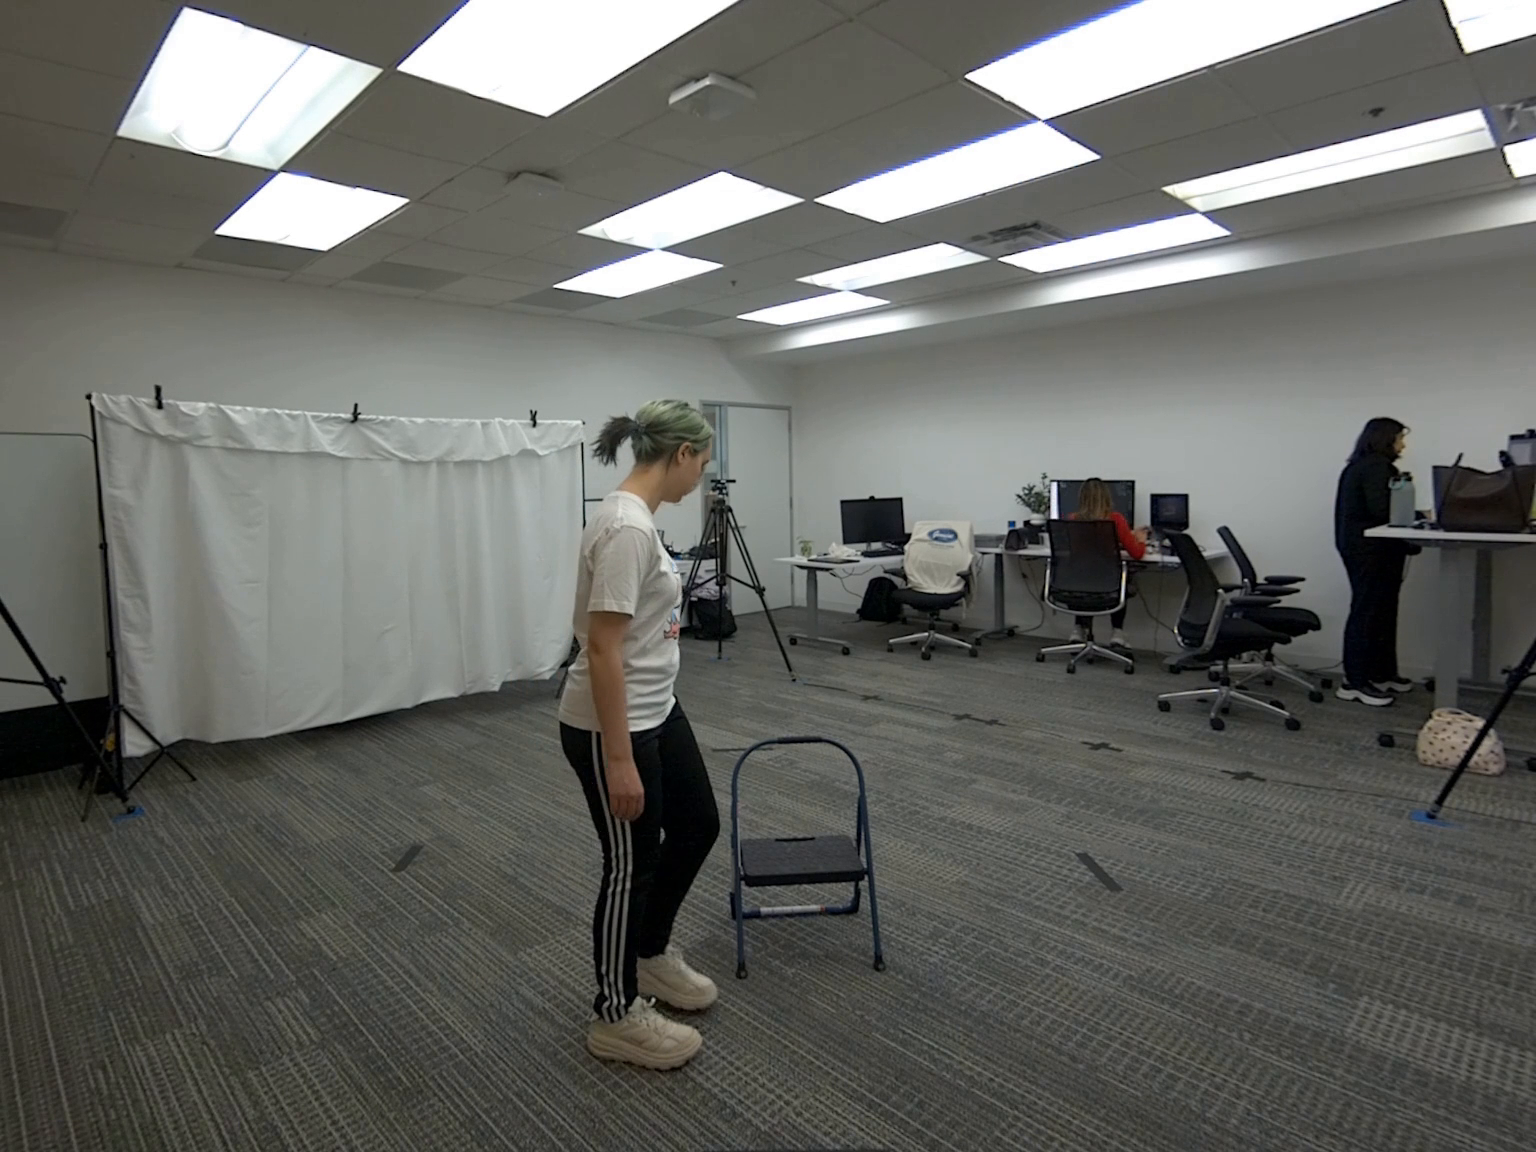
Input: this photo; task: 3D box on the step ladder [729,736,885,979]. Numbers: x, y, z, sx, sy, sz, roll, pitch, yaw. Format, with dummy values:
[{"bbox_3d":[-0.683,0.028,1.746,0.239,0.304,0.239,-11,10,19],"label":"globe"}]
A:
[{"bbox_3d":[0.103,0.807,2.564,0.429,0.604,0.352,-1,5,-5],"label":"step ladder"}]
